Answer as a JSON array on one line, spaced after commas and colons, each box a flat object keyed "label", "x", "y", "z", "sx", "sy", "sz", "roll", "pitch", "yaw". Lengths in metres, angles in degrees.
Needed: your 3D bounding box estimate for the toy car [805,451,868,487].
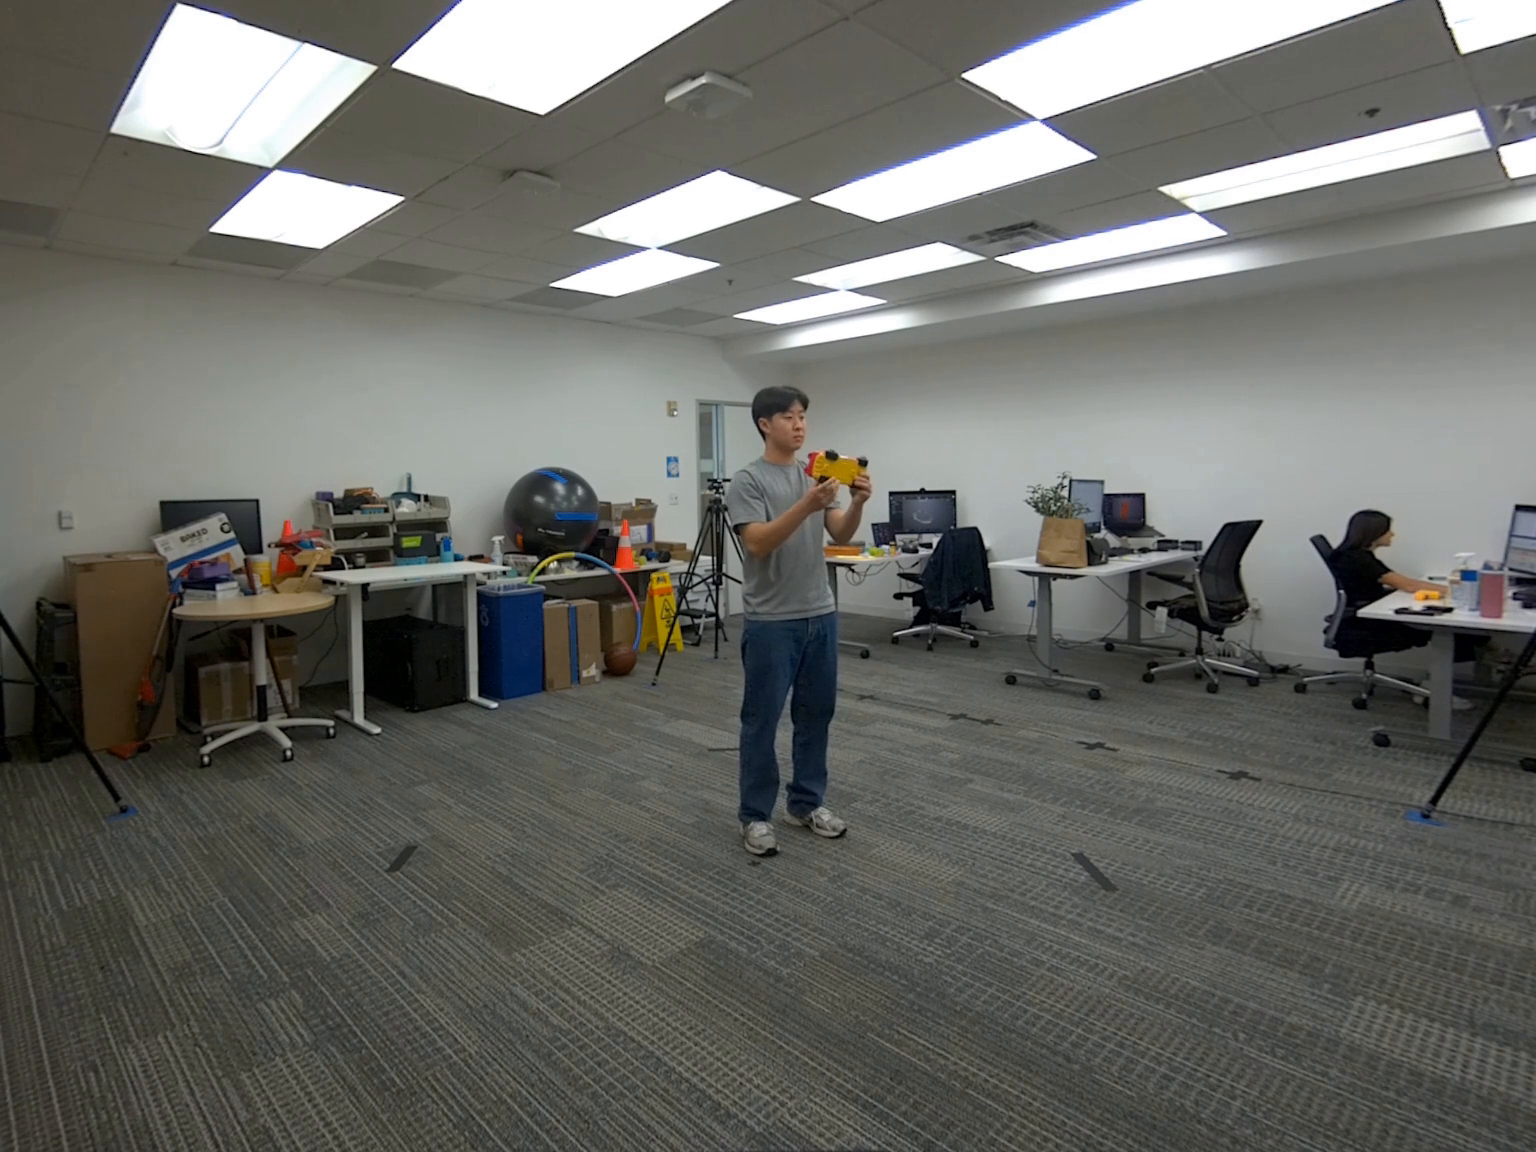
[{"label": "toy car", "x": 0.239, "y": -0.375, "z": 3.019, "sx": 0.248, "sy": 0.129, "sz": 0.086, "roll": 9, "pitch": 12, "yaw": -24}]
